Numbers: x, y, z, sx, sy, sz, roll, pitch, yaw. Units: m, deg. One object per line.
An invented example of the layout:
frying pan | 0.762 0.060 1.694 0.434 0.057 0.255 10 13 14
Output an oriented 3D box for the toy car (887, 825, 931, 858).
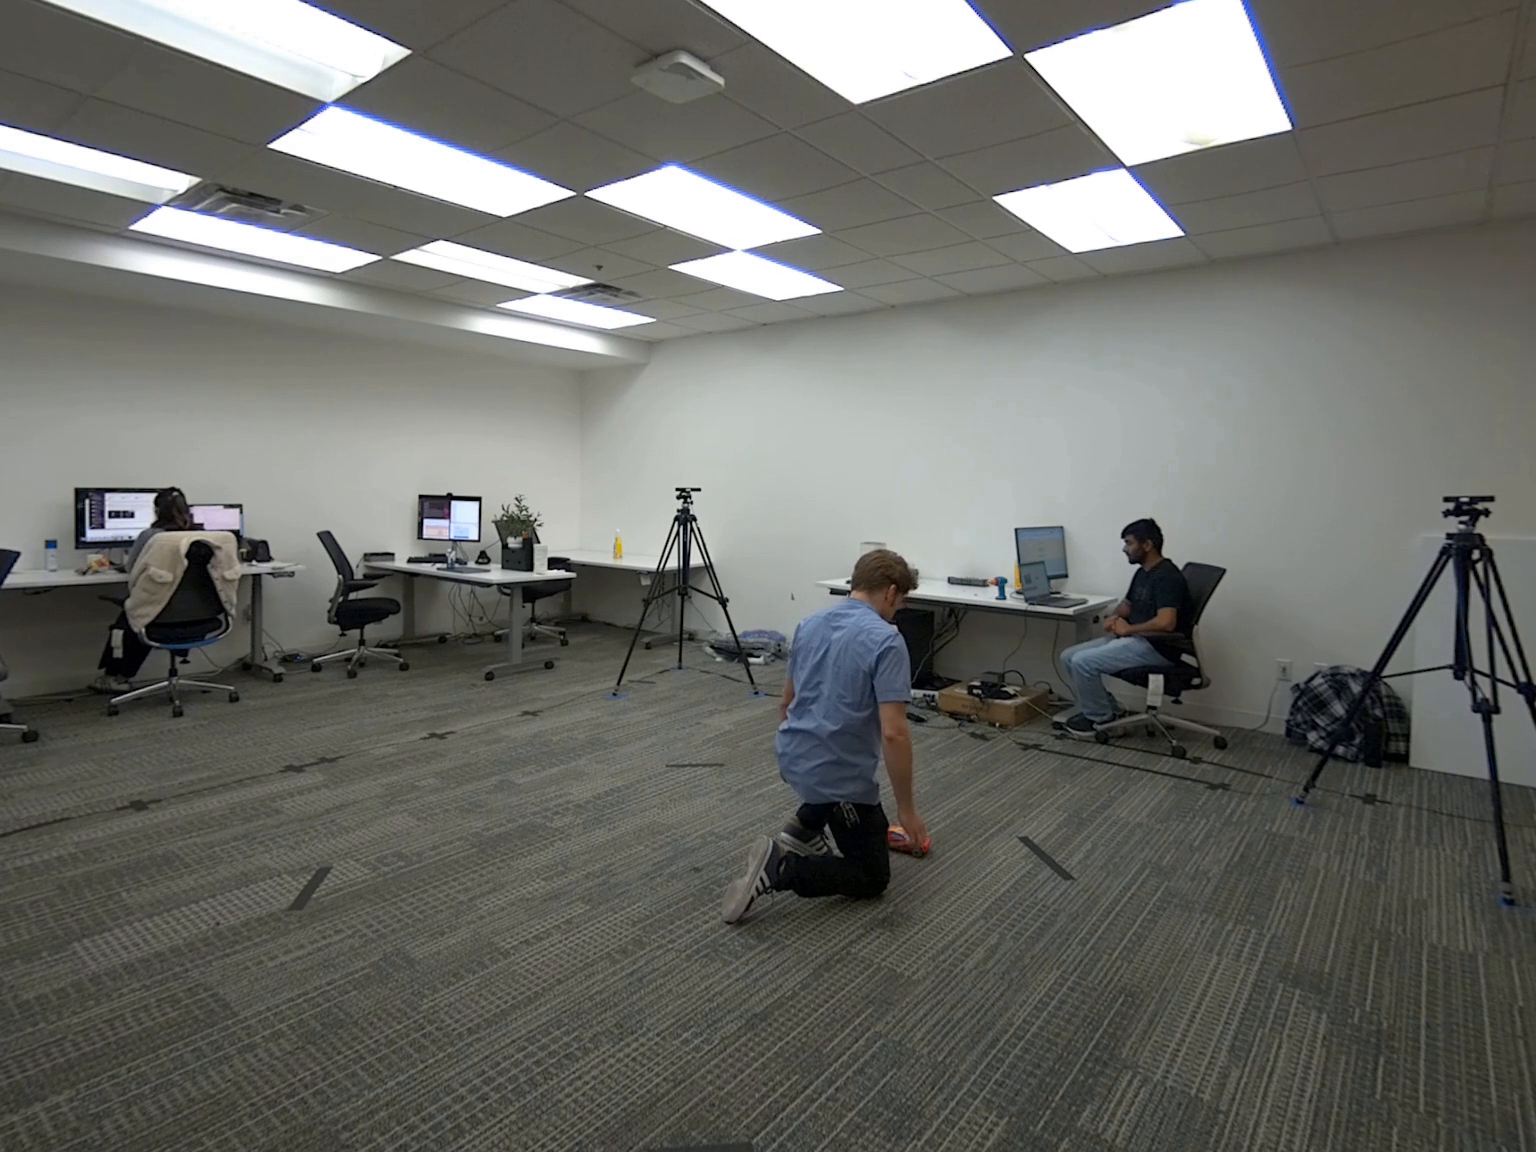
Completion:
toy car | 0.494 1.024 3.339 0.262 0.083 0.127 15 9 23
